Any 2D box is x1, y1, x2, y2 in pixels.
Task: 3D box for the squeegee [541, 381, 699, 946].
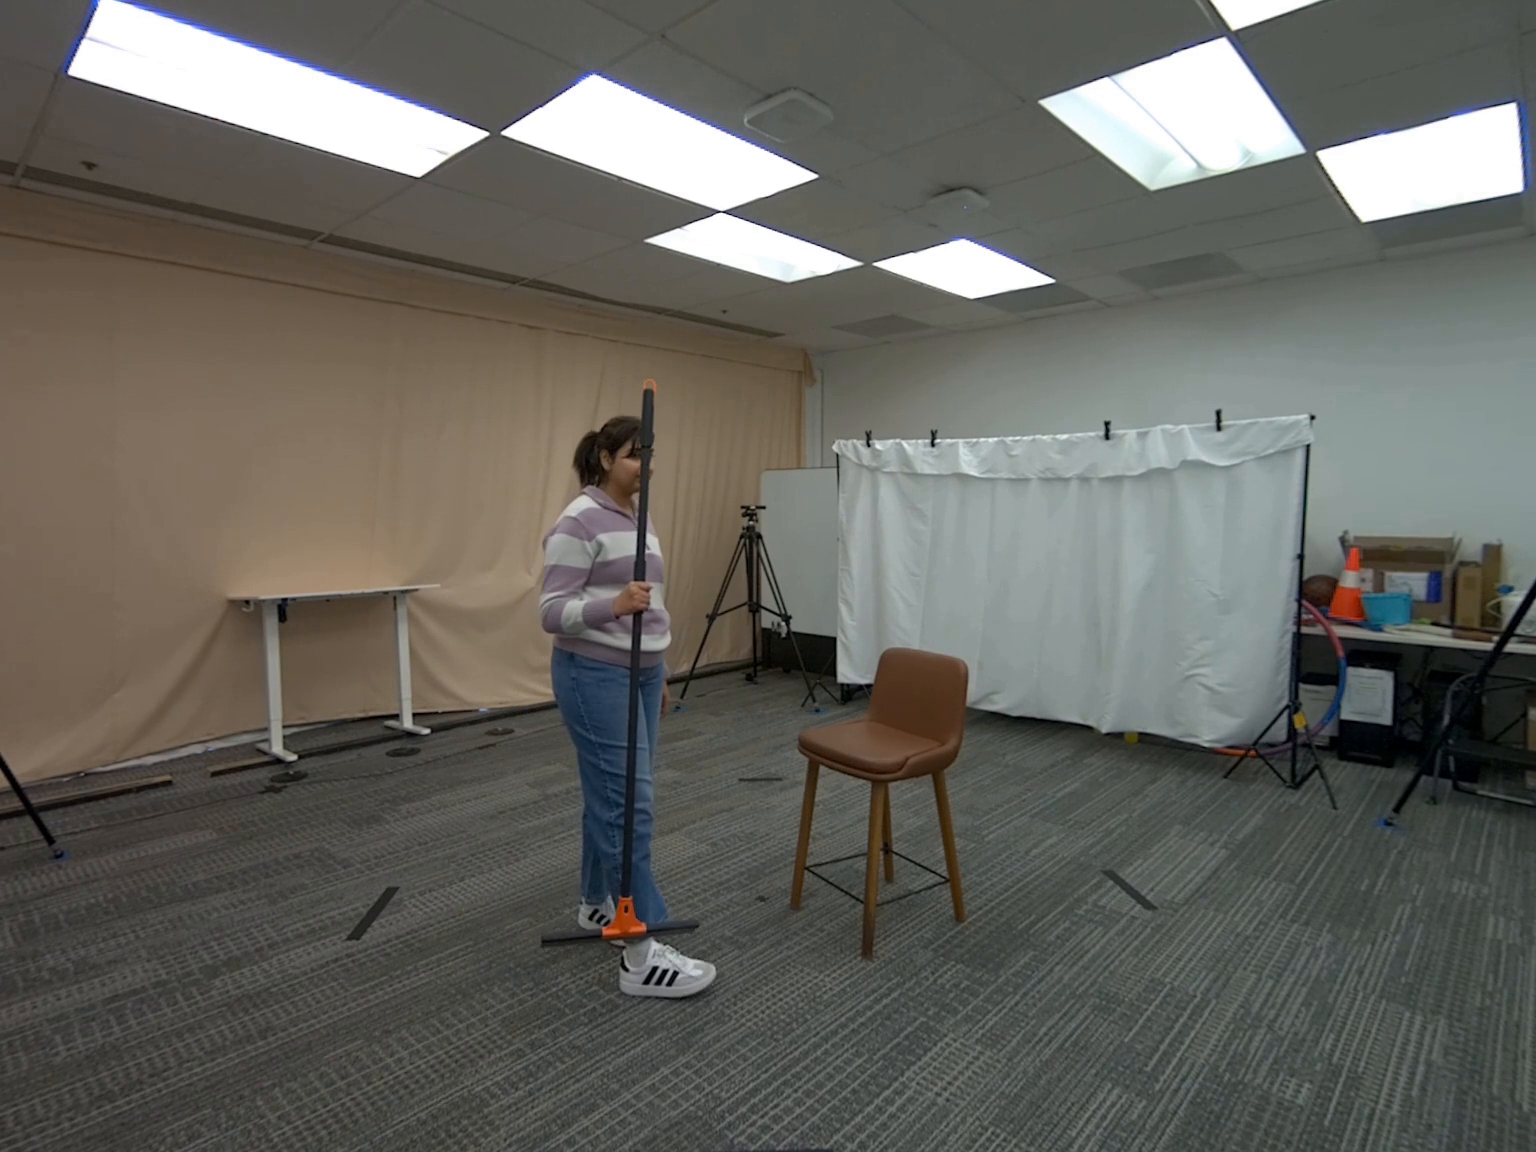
[{"bbox_3d":[-0.342,0.223,2.326,0.427,1.541,0.054,4,-5,-24],"label":"squeegee"}]
